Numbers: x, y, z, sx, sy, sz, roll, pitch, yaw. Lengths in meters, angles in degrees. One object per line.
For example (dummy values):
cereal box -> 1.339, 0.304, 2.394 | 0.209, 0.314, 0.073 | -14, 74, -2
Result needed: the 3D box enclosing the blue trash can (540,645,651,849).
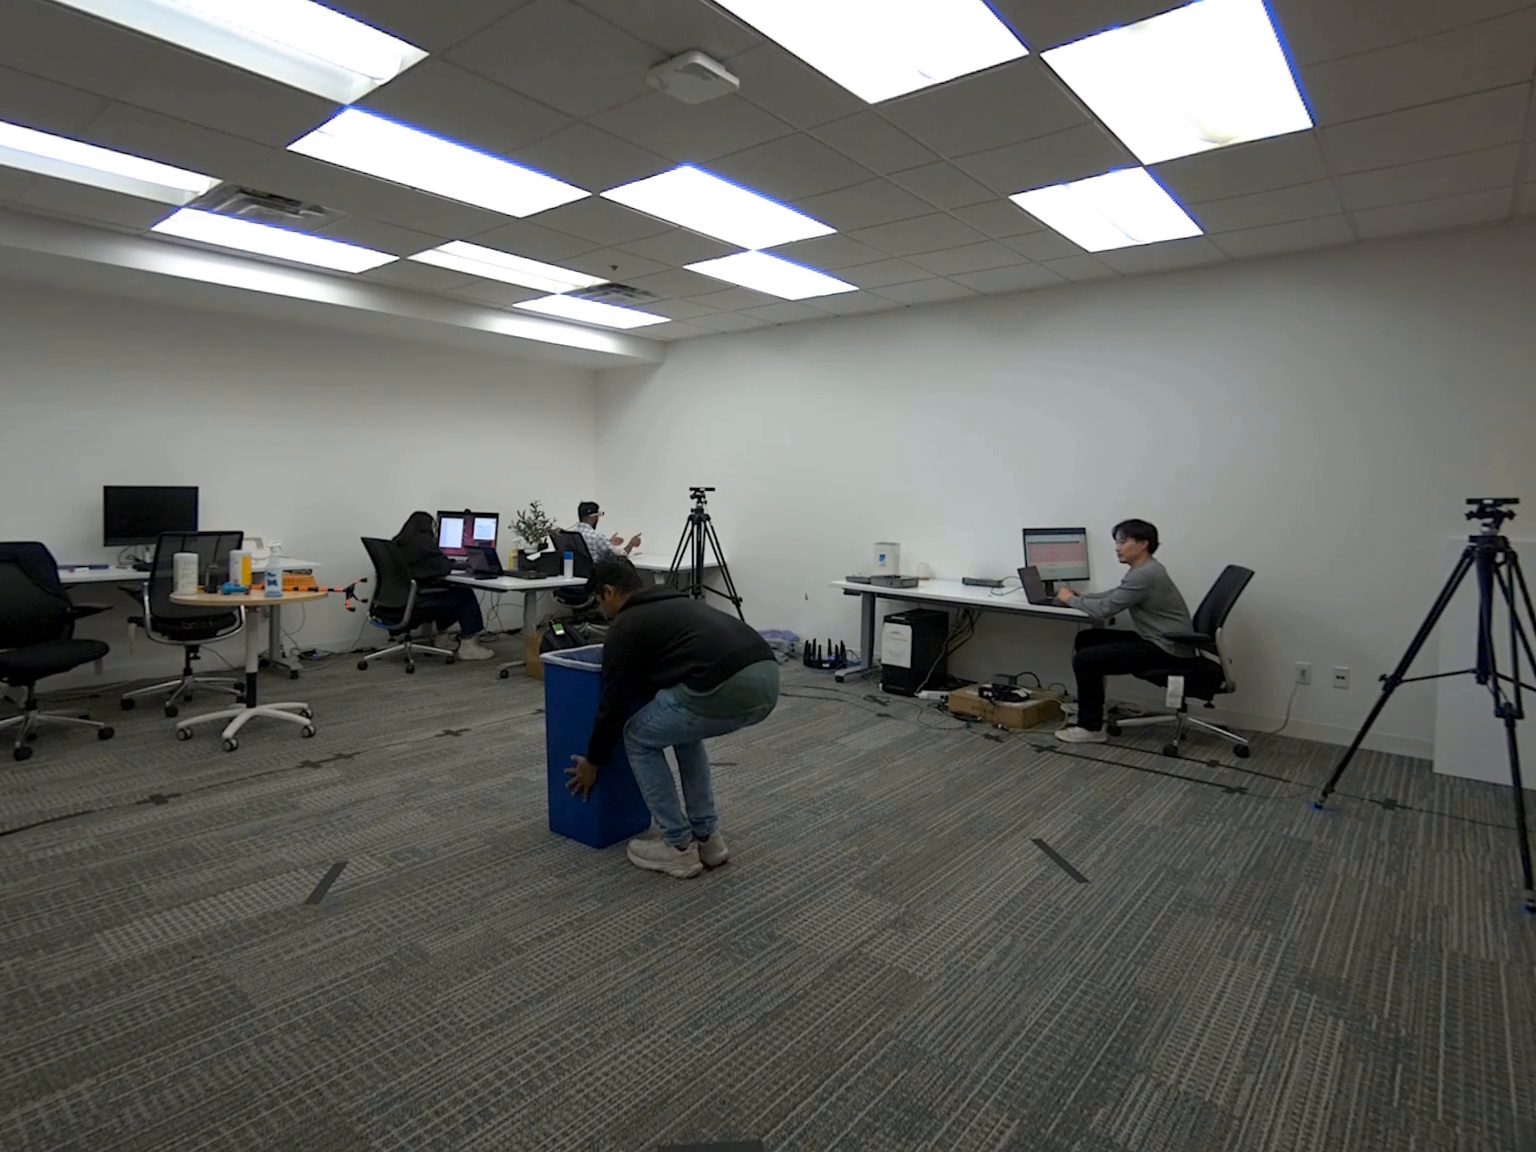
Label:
blue trash can -> -0.700, 0.668, 3.453 | 0.386, 0.712, 0.367 | 3, 3, 36
